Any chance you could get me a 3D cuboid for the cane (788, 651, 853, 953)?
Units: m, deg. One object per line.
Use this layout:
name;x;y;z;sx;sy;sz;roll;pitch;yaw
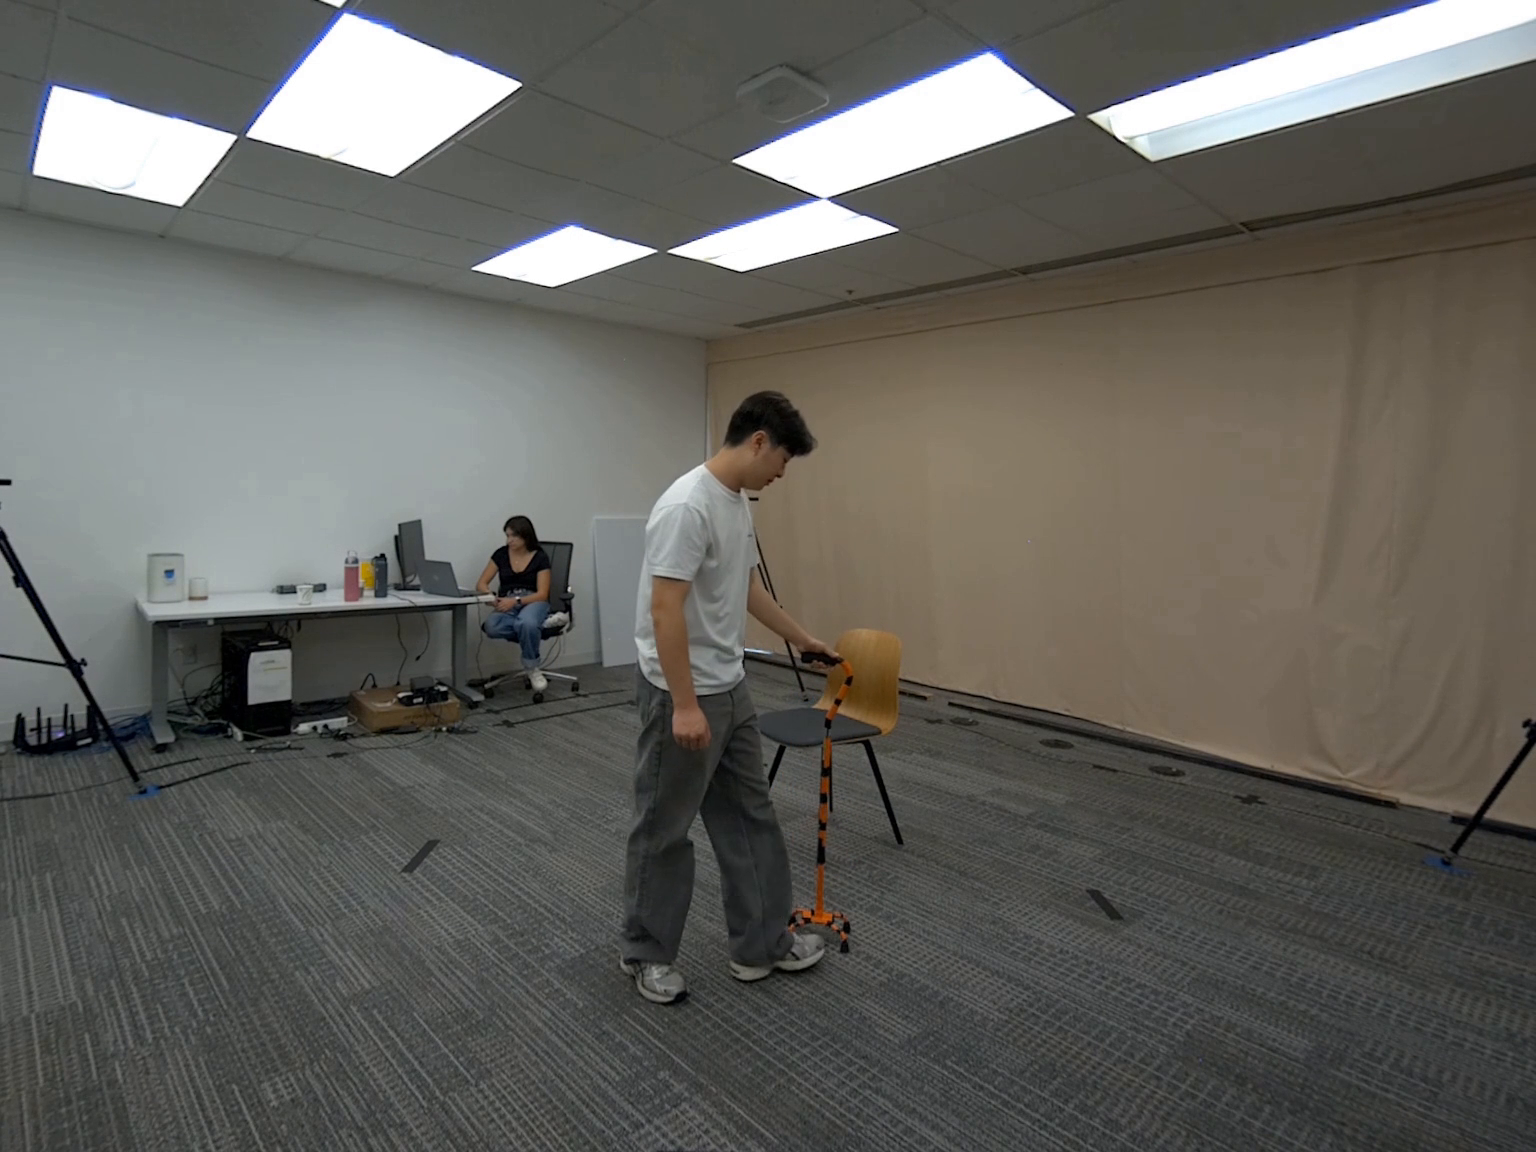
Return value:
cane;0.171;0.705;2.642;0.208;0.905;0.151;2;4;7
